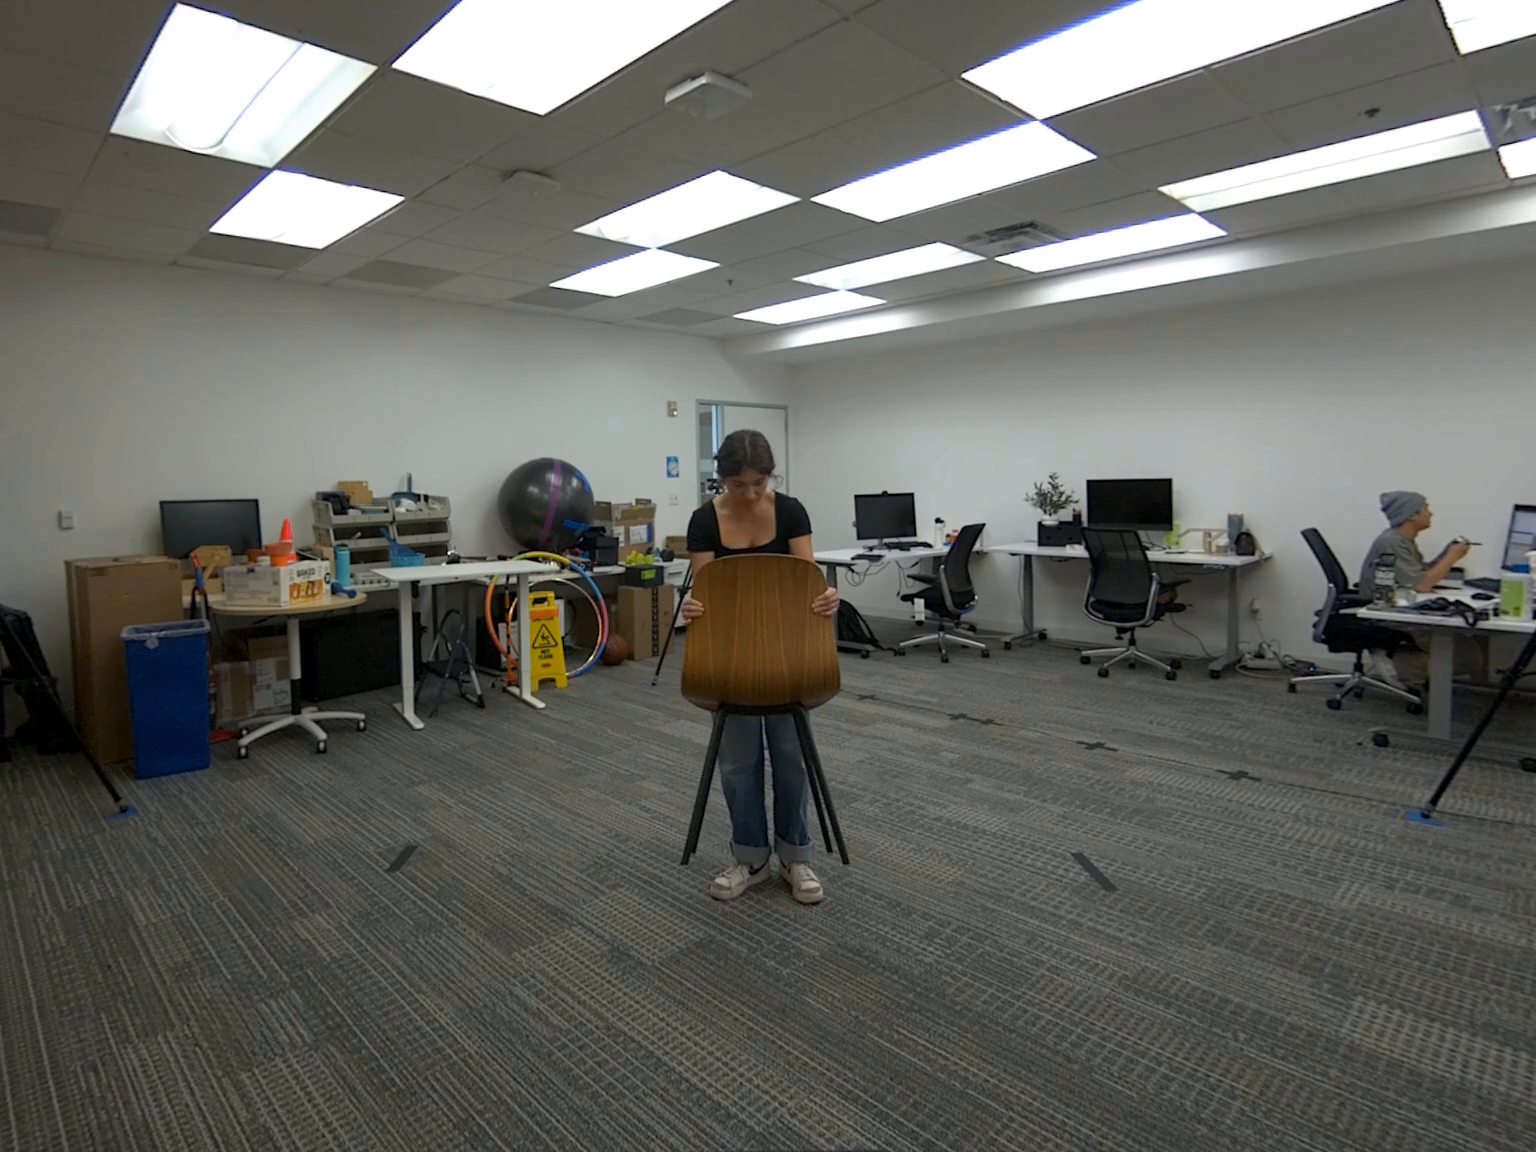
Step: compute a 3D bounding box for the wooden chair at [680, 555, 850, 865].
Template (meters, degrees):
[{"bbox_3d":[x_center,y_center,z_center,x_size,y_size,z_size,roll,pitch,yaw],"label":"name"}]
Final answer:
[{"bbox_3d":[-0.020,0.420,2.605,0.478,0.888,0.517,-2,-12,-2],"label":"wooden chair"}]
